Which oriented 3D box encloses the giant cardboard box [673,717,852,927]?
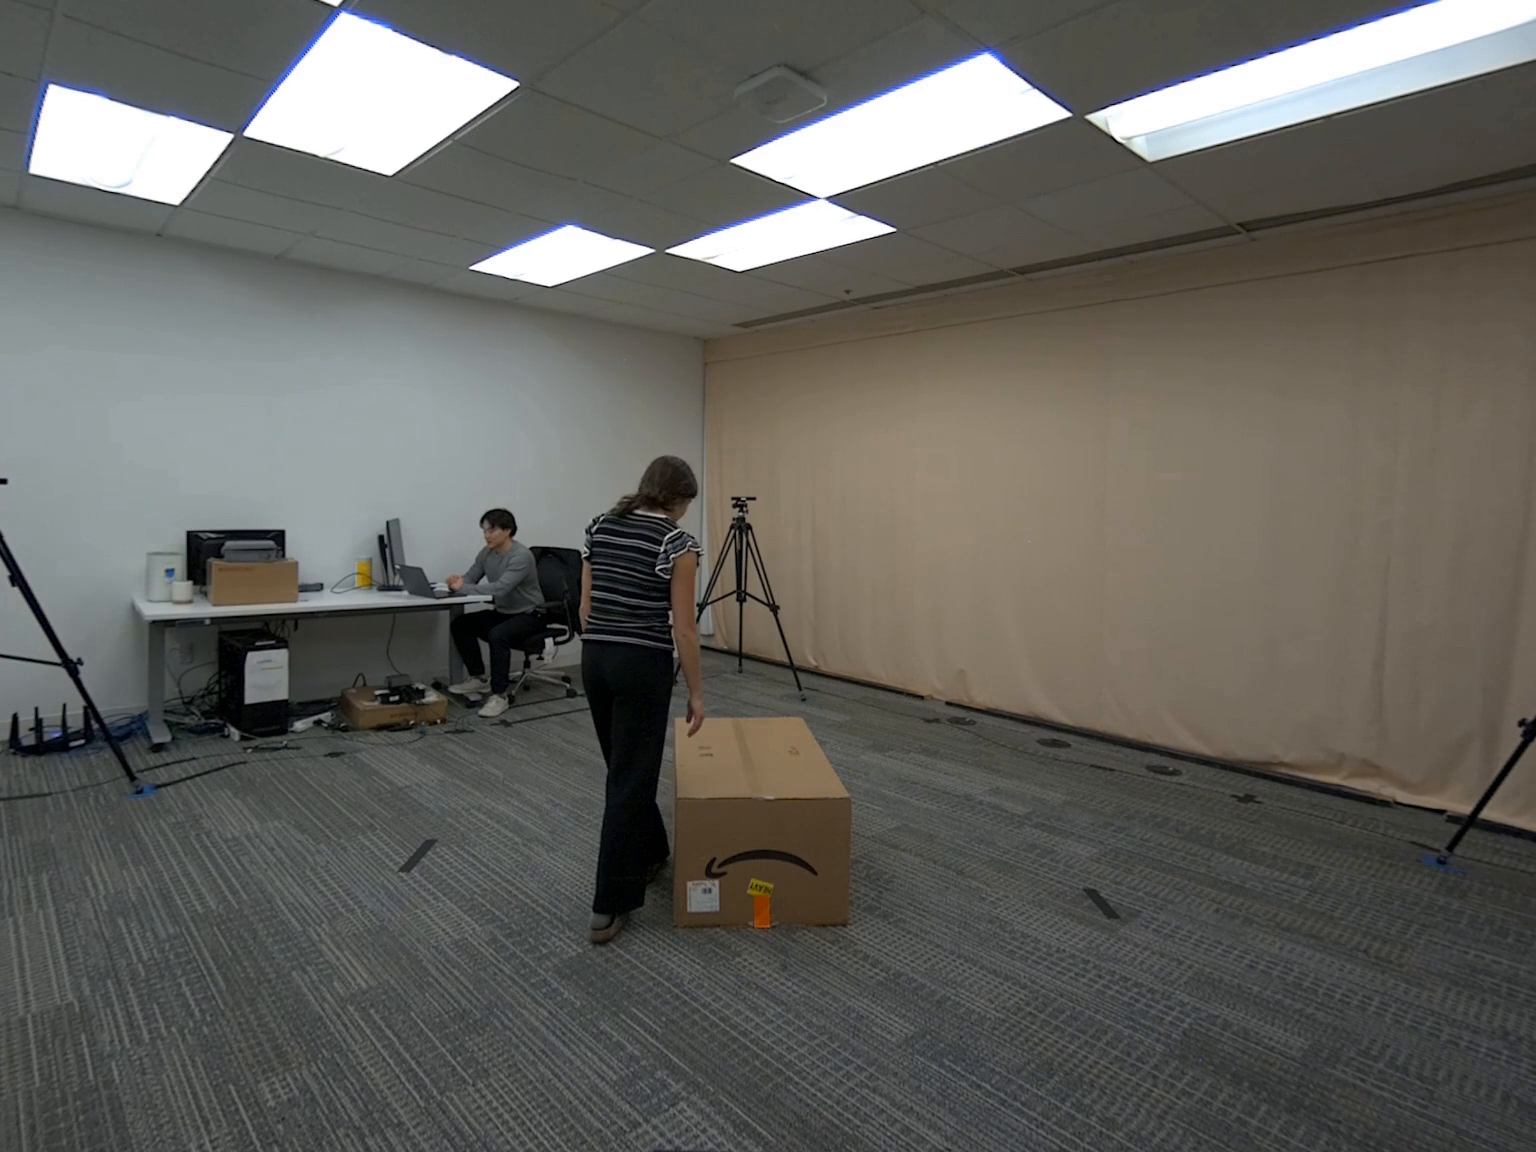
[{"bbox_3d":[-0.079,0.884,3.233,0.575,0.425,1.033,0,5,-6],"label":"giant cardboard box"}]
